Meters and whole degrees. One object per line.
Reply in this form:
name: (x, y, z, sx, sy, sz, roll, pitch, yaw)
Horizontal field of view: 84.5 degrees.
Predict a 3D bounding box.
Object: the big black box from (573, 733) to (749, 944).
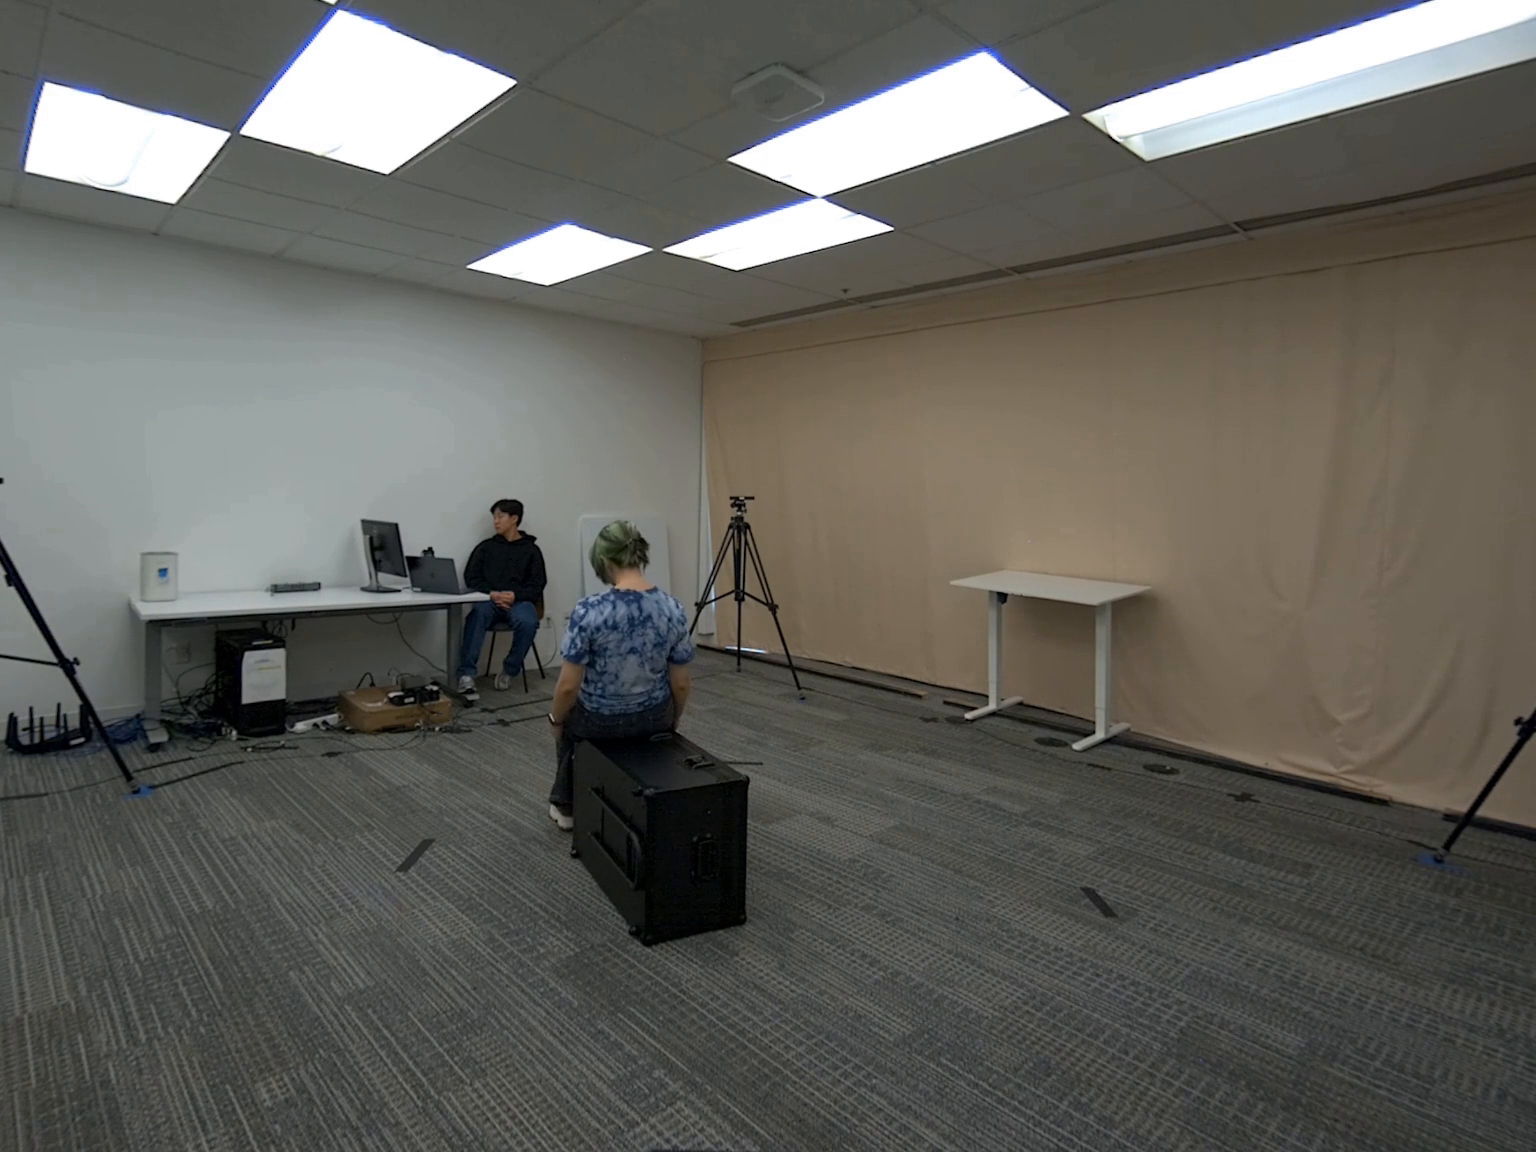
big black box: (-0.439, 0.866, 3.019, 0.389, 0.520, 0.880, 0, 4, -27)
